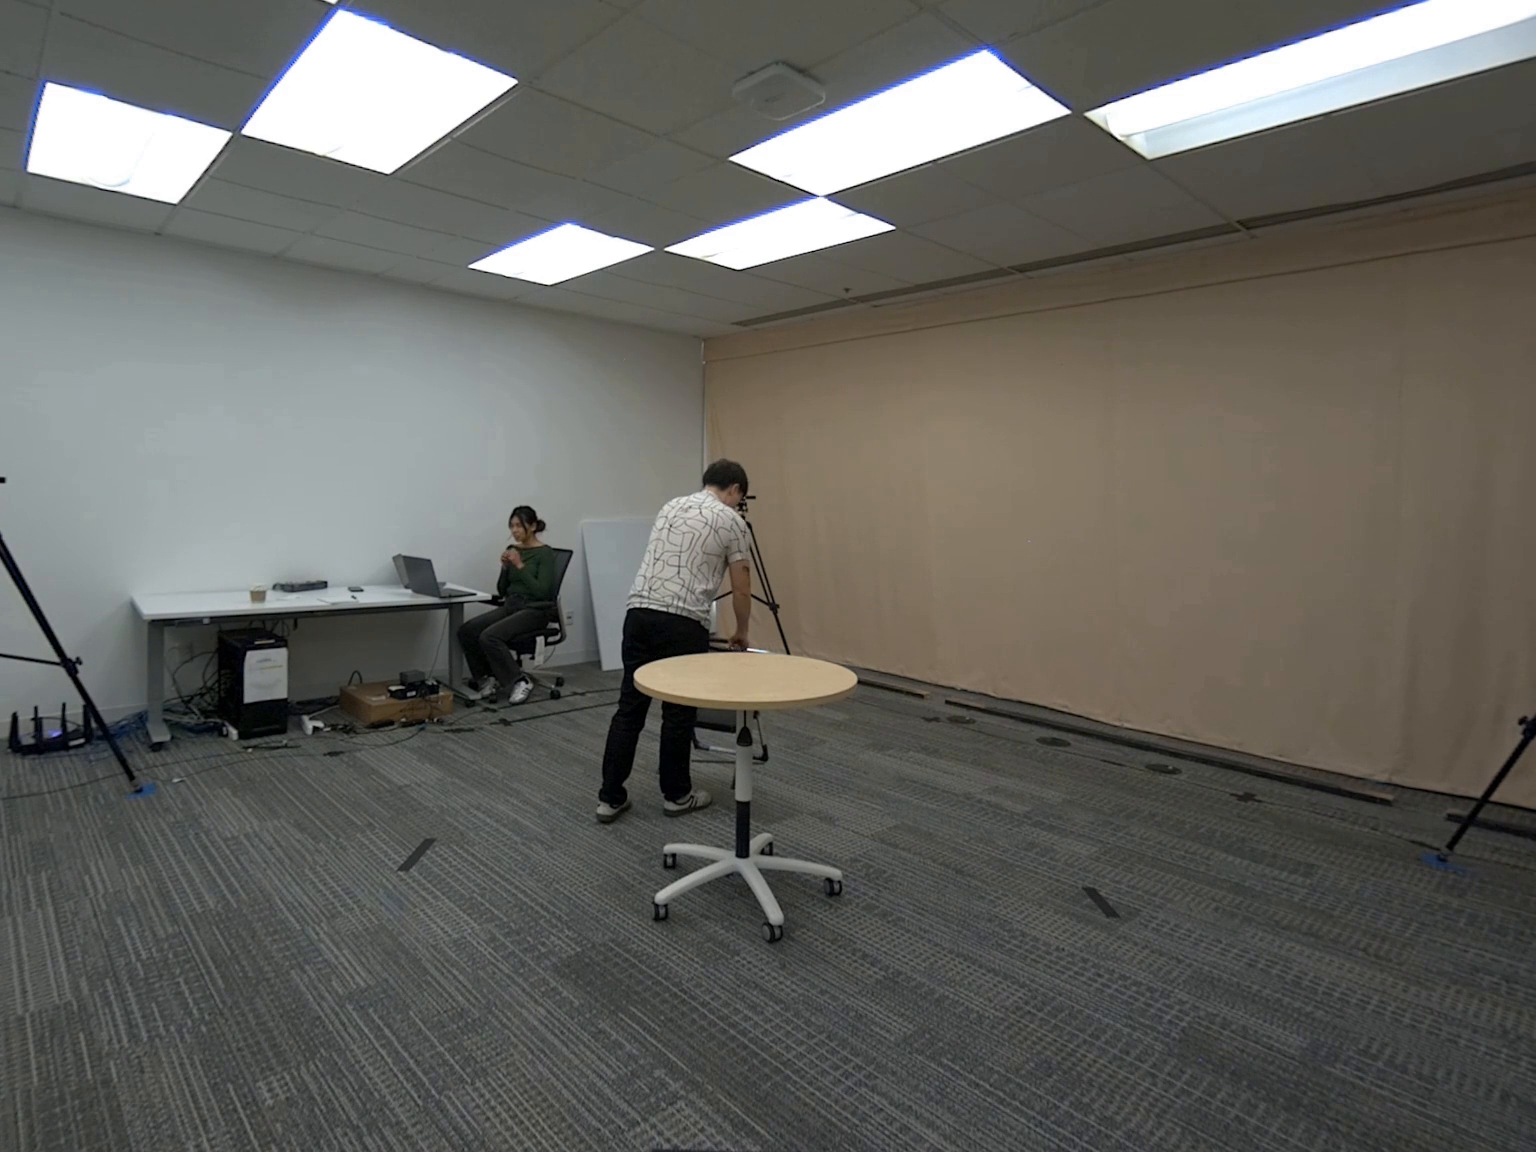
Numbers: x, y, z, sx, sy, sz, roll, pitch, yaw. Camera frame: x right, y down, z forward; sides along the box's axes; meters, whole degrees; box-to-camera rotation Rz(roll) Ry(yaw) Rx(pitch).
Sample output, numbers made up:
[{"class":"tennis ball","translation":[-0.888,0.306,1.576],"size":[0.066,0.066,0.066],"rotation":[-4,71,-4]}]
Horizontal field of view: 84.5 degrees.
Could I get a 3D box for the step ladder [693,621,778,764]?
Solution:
[{"class":"step ladder","translation":[-0.273,0.606,3.933],"size":[0.439,0.602,0.344],"rotation":[3,10,28]}]
